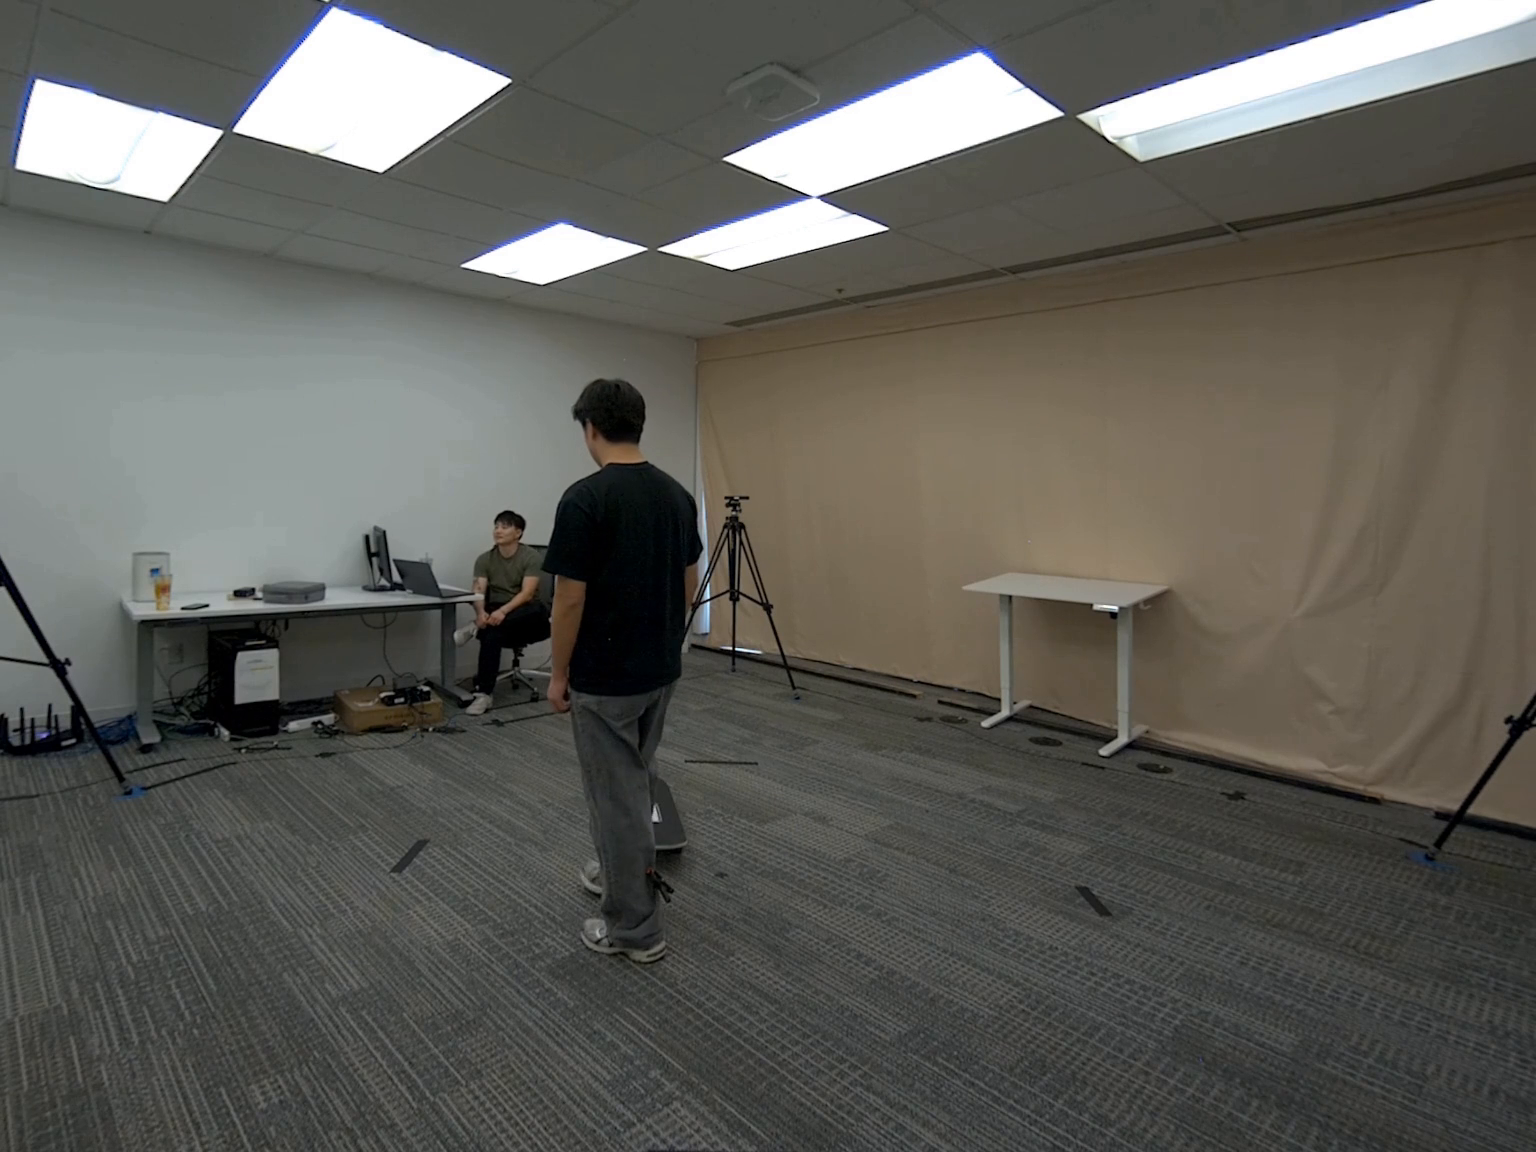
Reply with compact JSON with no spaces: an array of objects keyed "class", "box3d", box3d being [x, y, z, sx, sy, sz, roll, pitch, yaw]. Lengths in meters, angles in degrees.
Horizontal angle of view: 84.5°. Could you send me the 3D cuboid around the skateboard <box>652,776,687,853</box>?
[{"class":"skateboard","box3d":[-0.481,1.010,3.479,0.192,0.110,0.795,1,6,-13]}]
